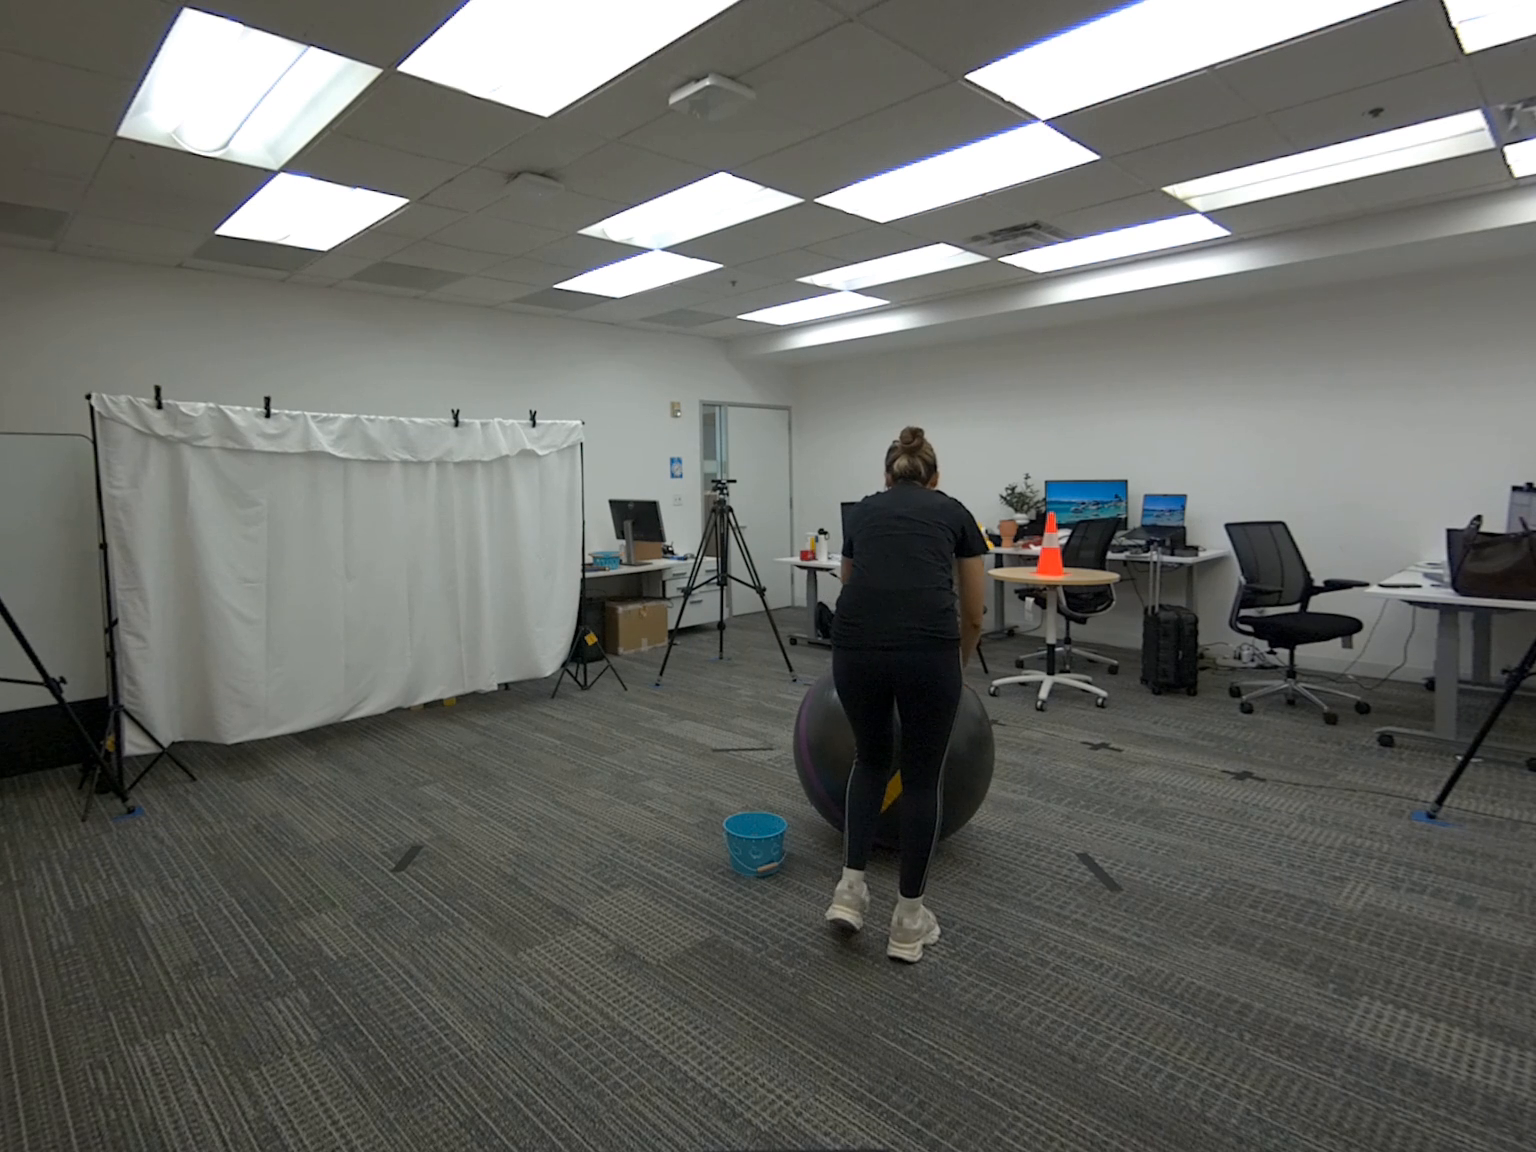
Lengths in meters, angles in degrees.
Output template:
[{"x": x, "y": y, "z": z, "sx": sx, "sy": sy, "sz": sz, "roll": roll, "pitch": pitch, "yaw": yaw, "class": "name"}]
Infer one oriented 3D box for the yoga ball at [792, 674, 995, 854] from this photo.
[{"x": 0.476, "y": 0.653, "z": 3.277, "sx": 0.757, "sy": 0.755, "sz": 0.762, "roll": -1, "pitch": 5, "yaw": -2, "class": "yoga ball"}]
